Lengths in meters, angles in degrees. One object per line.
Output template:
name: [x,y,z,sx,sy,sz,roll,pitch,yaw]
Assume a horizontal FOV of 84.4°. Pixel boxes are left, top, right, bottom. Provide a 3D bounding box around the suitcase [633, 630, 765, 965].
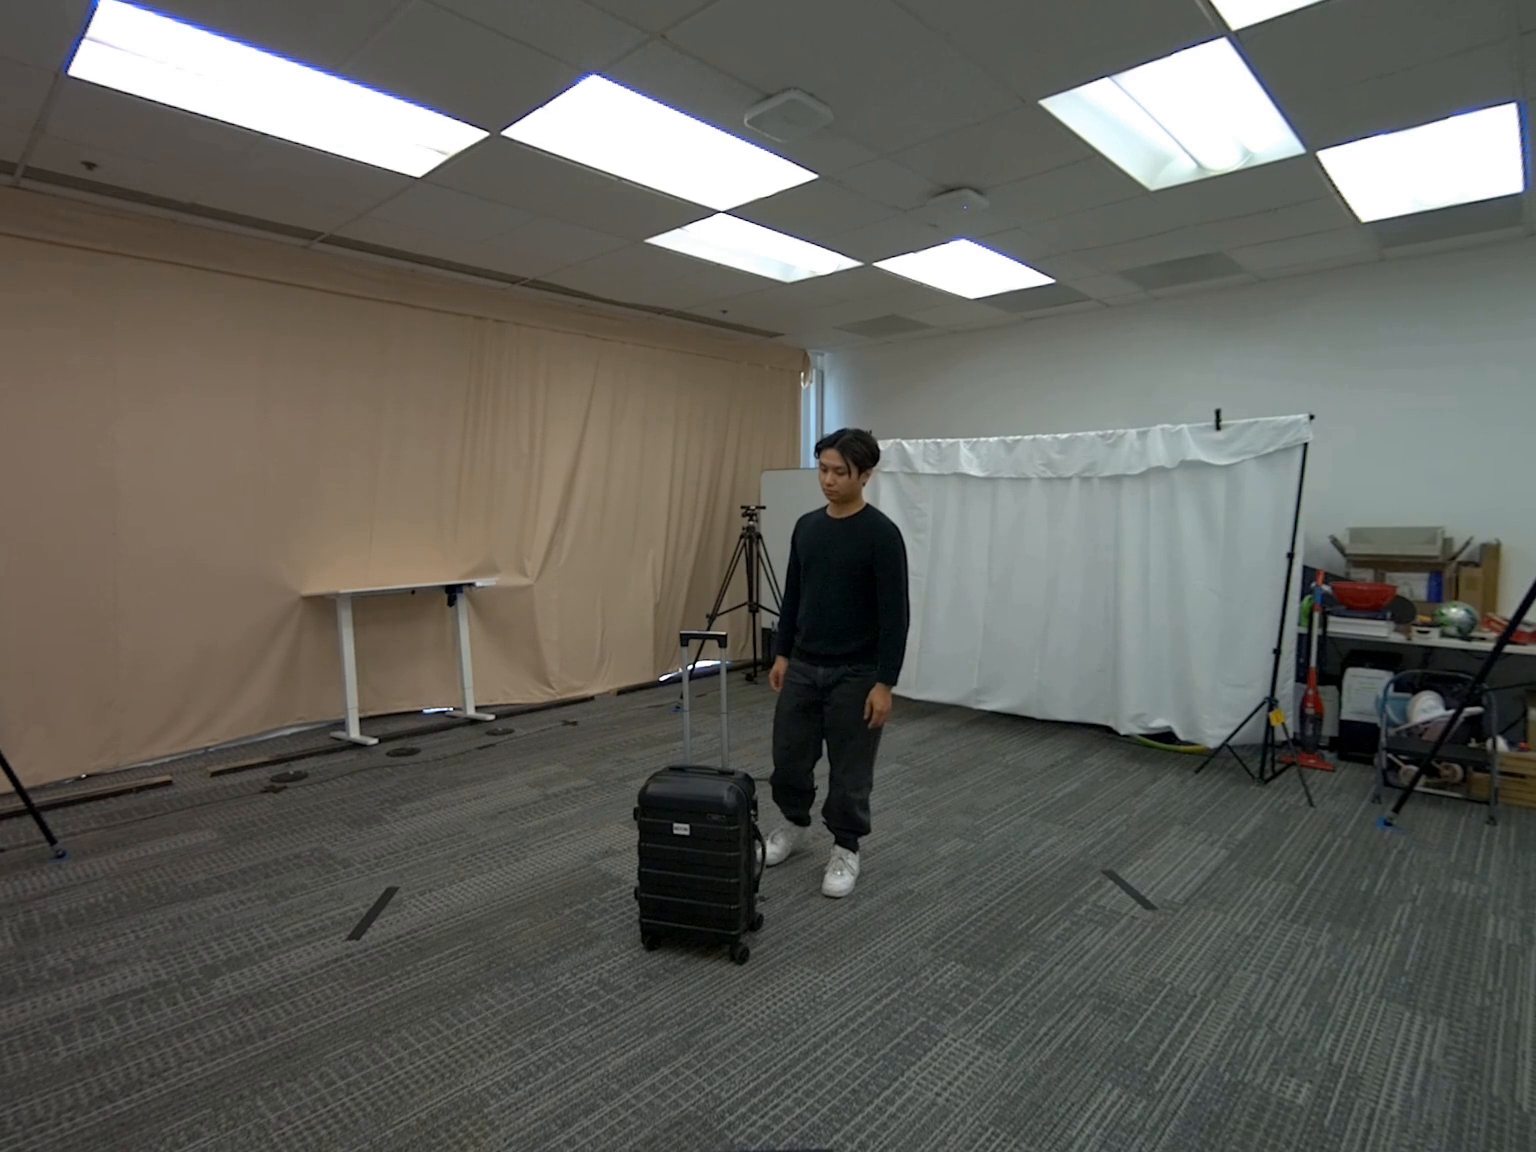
suitcase: [-0.222,0.692,2.667,0.390,0.975,0.254,0,6,14]
